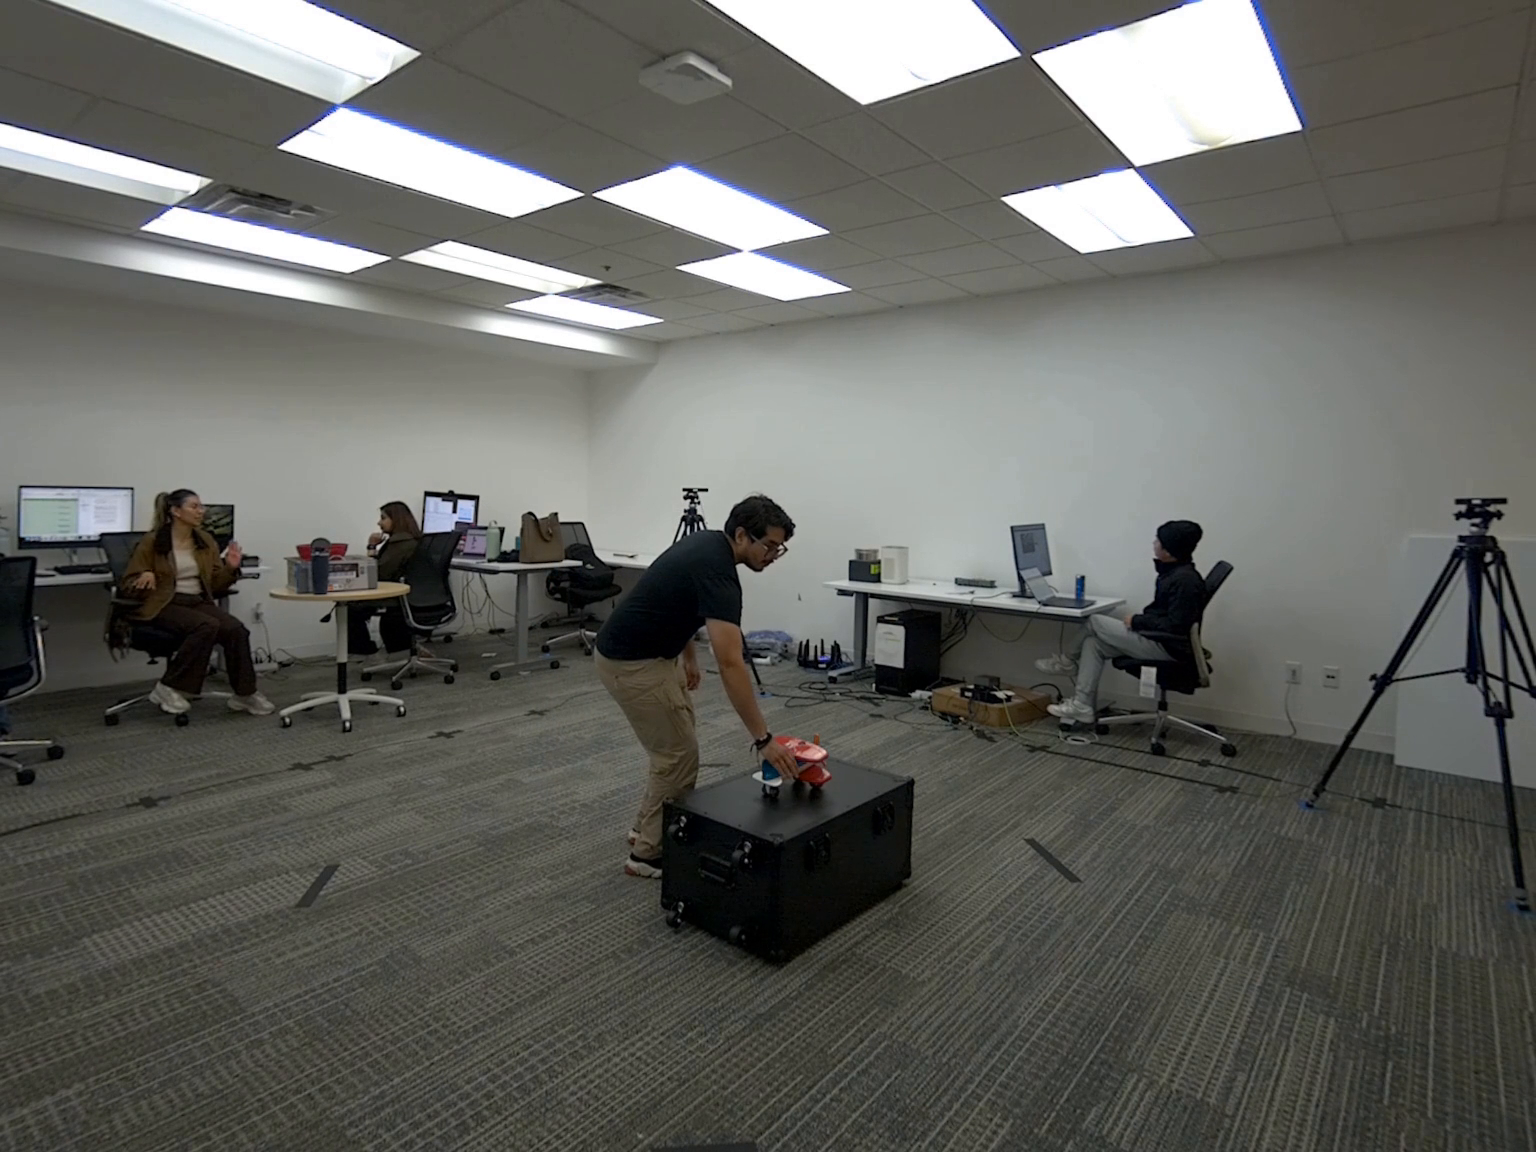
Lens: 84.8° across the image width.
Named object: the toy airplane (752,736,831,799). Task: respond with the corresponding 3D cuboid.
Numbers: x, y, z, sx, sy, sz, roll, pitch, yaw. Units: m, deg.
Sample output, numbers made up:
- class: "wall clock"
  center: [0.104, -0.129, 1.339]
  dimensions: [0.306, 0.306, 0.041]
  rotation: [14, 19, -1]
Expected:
- class: "toy airplane"
  center: [0.083, 0.647, 2.874]
  dimensions: [0.257, 0.156, 0.253]
  rotation: [3, 4, 23]
